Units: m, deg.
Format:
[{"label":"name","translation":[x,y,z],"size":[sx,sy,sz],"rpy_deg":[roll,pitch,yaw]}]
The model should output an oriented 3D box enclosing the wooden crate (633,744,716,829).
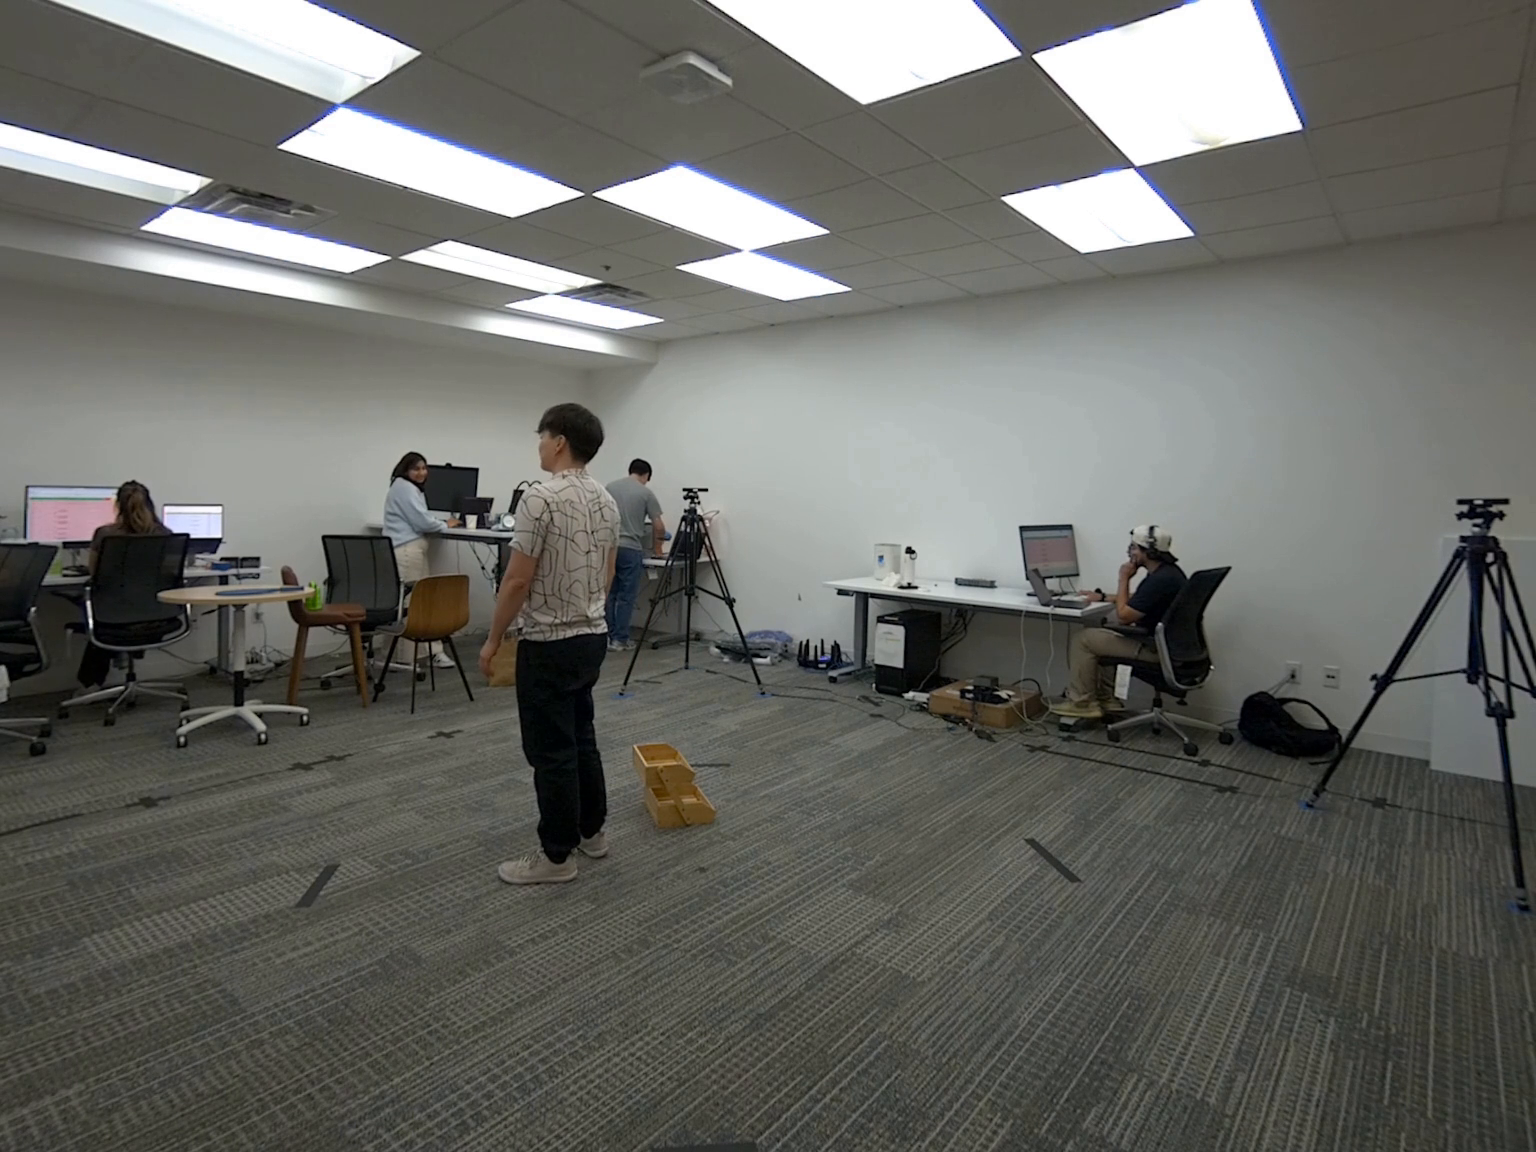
[{"label":"wooden crate","translation":[-0.409,0.882,3.671],"size":[0.297,0.272,0.331],"rpy_deg":[-3,5,-18]}]
